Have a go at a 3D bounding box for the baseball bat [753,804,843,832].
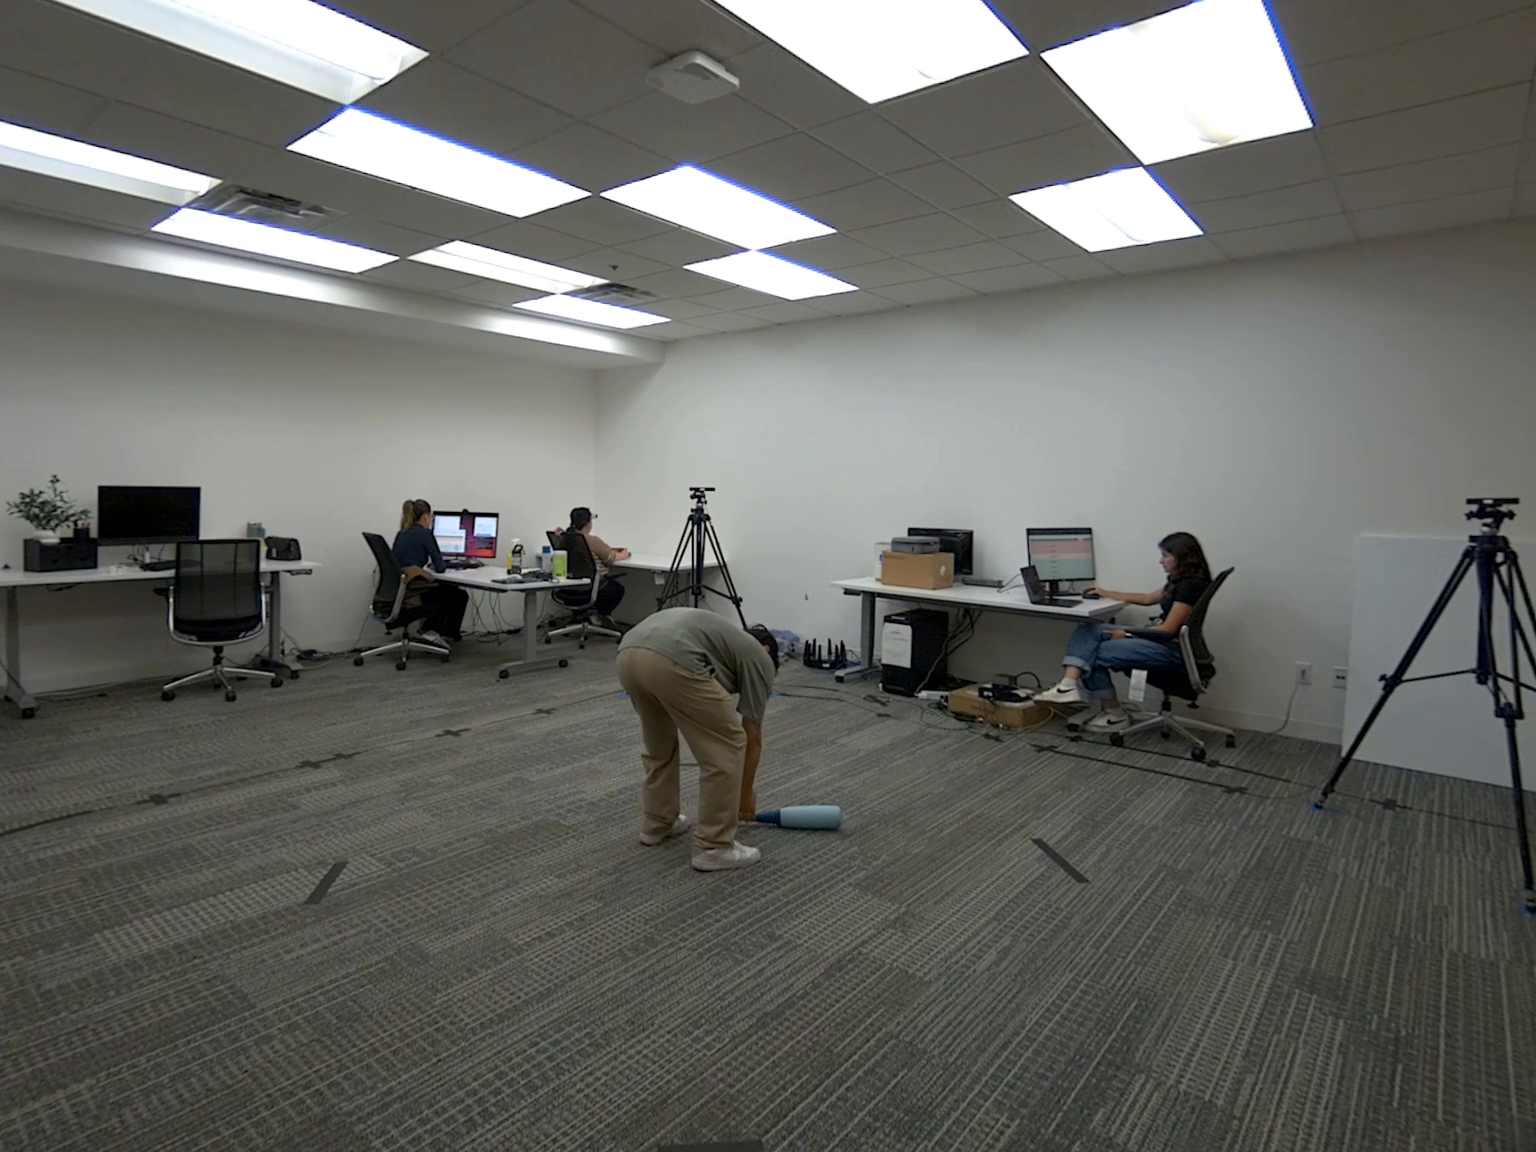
[{"bbox_3d":[0.022,0.997,3.516,0.546,0.089,0.089,-1,4,5],"label":"baseball bat"}]
